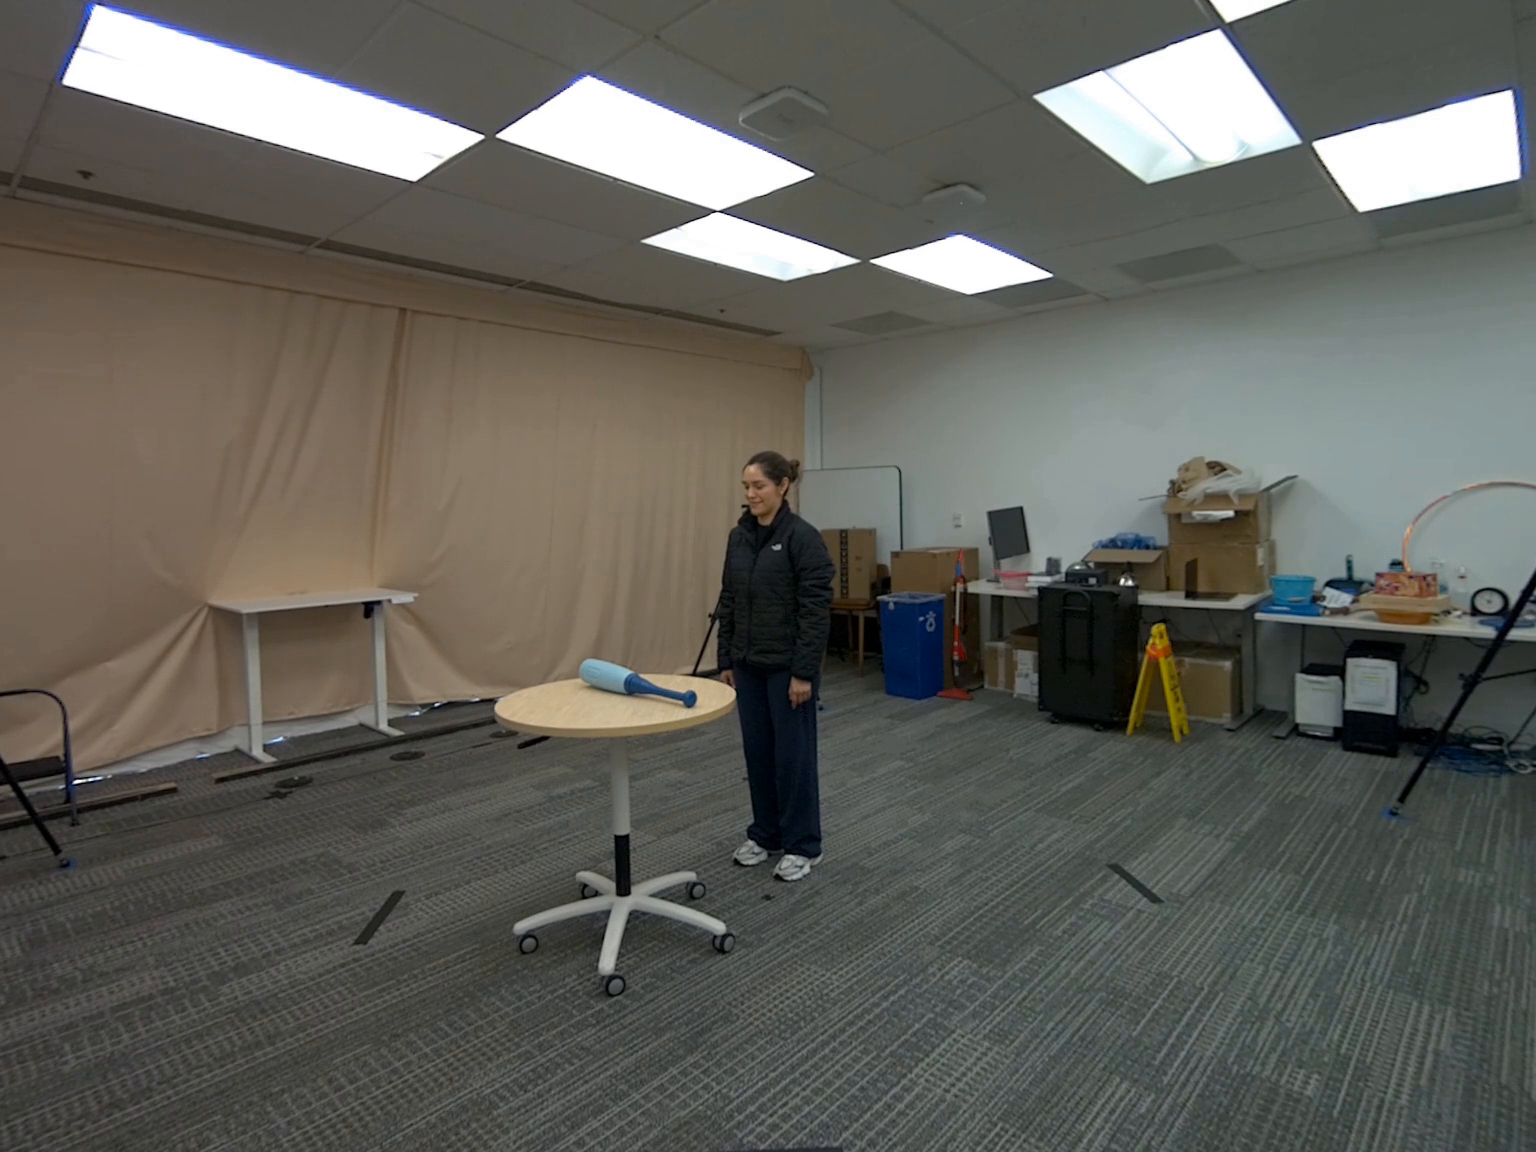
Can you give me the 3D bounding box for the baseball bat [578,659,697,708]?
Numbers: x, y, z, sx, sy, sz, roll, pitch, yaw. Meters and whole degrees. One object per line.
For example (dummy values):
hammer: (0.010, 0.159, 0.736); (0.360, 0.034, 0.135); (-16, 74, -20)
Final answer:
baseball bat: (-0.409, 0.352, 2.719); (0.562, 0.089, 0.086); (7, 8, 44)
